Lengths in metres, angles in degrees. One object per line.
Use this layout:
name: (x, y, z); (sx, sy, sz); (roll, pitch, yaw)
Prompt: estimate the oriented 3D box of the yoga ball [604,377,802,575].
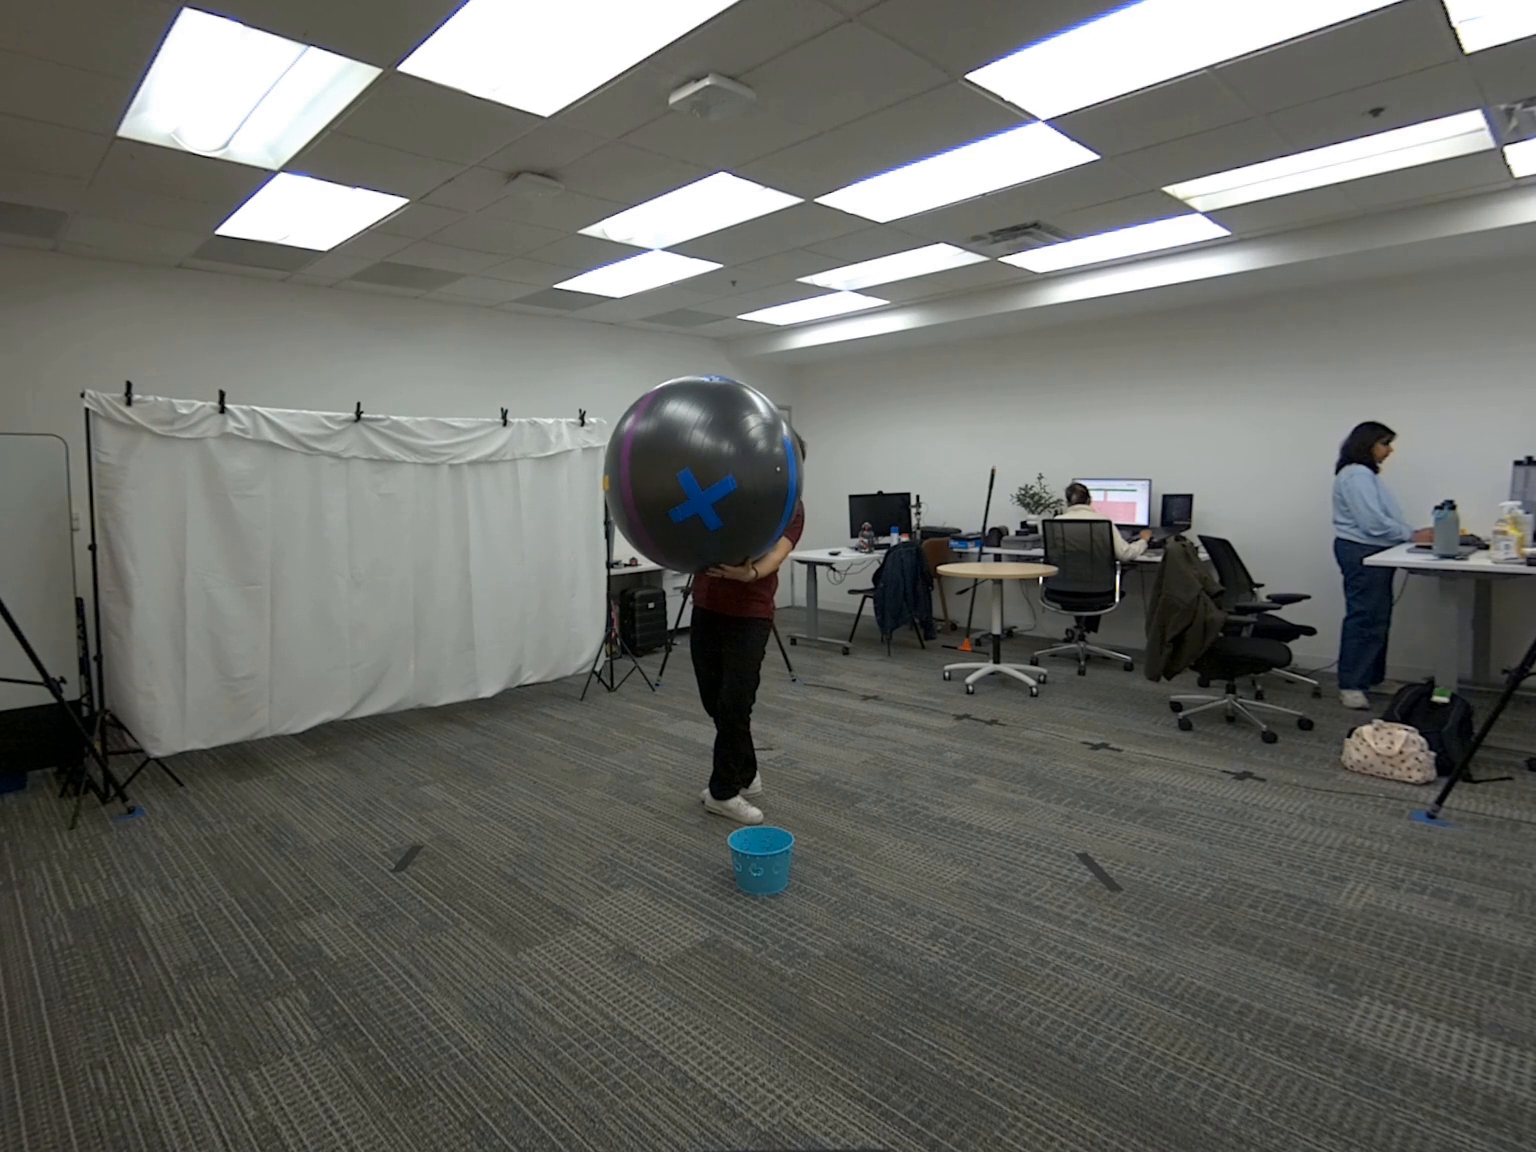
yoga ball: (-0.253, -0.374, 3.255); (0.757, 0.755, 0.762); (-1, 5, -2)
